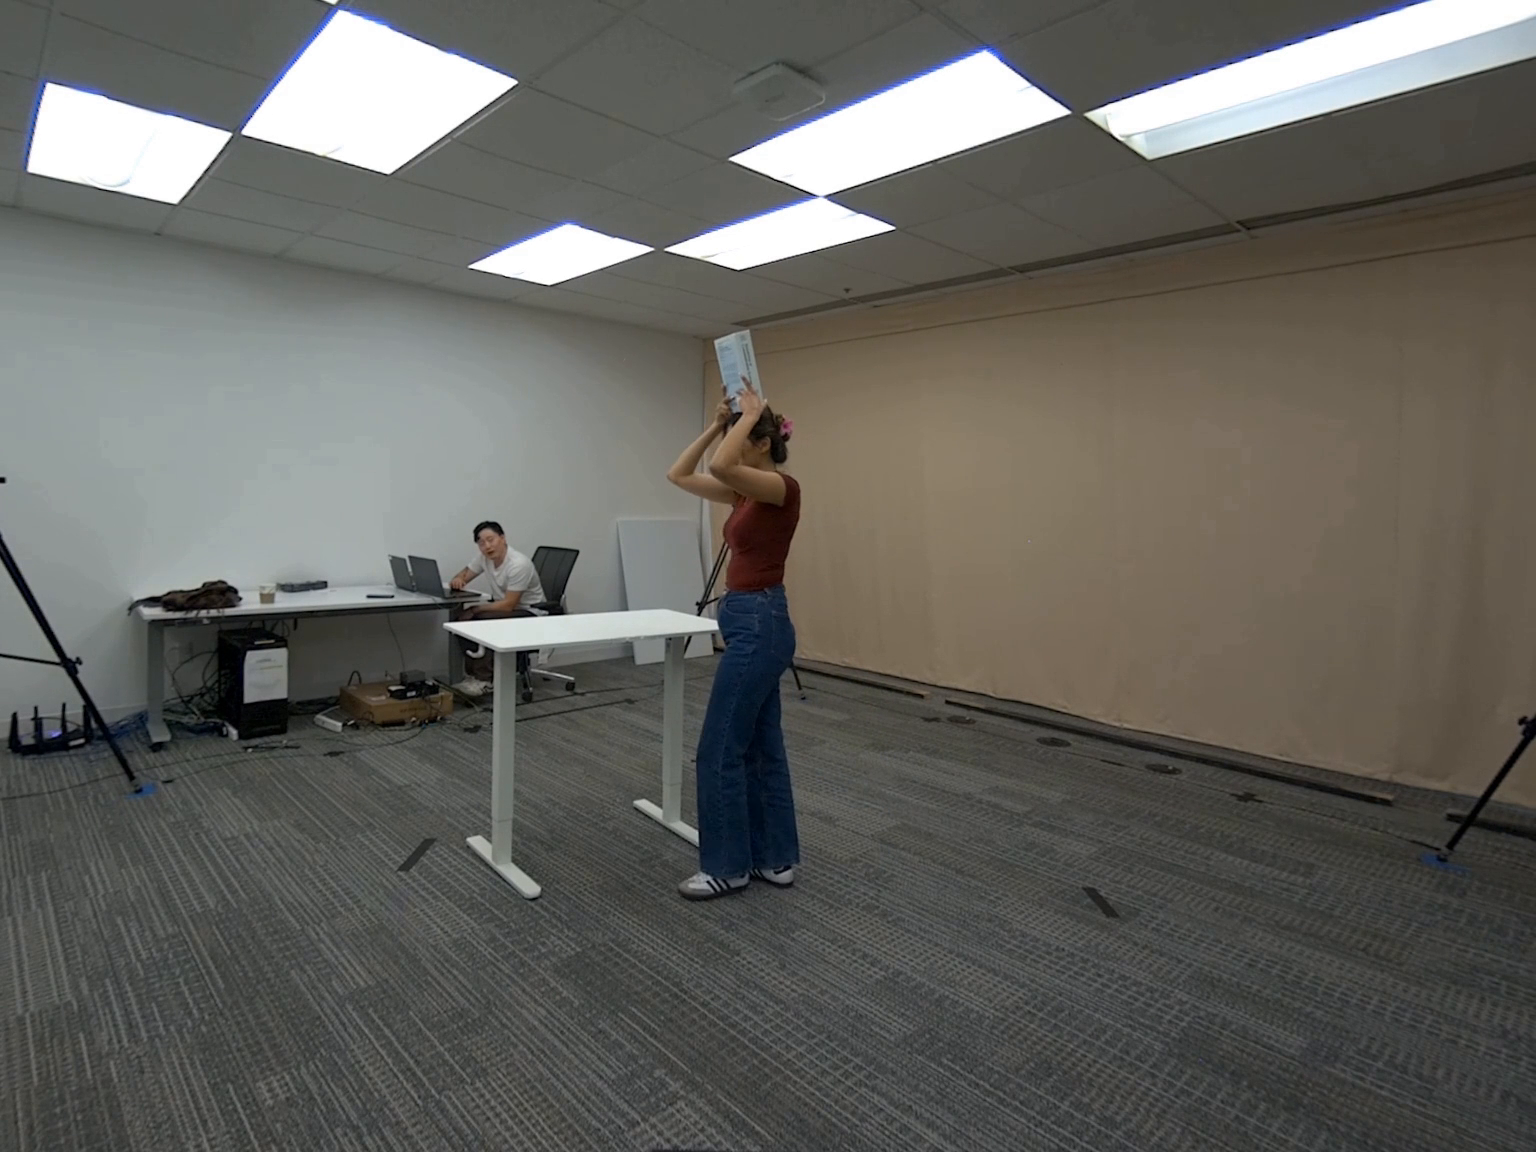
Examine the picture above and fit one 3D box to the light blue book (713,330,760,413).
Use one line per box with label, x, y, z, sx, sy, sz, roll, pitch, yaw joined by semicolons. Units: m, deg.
light blue book;-0.107;-0.703;2.915;0.058;0.258;0.195;-17;13;-22
